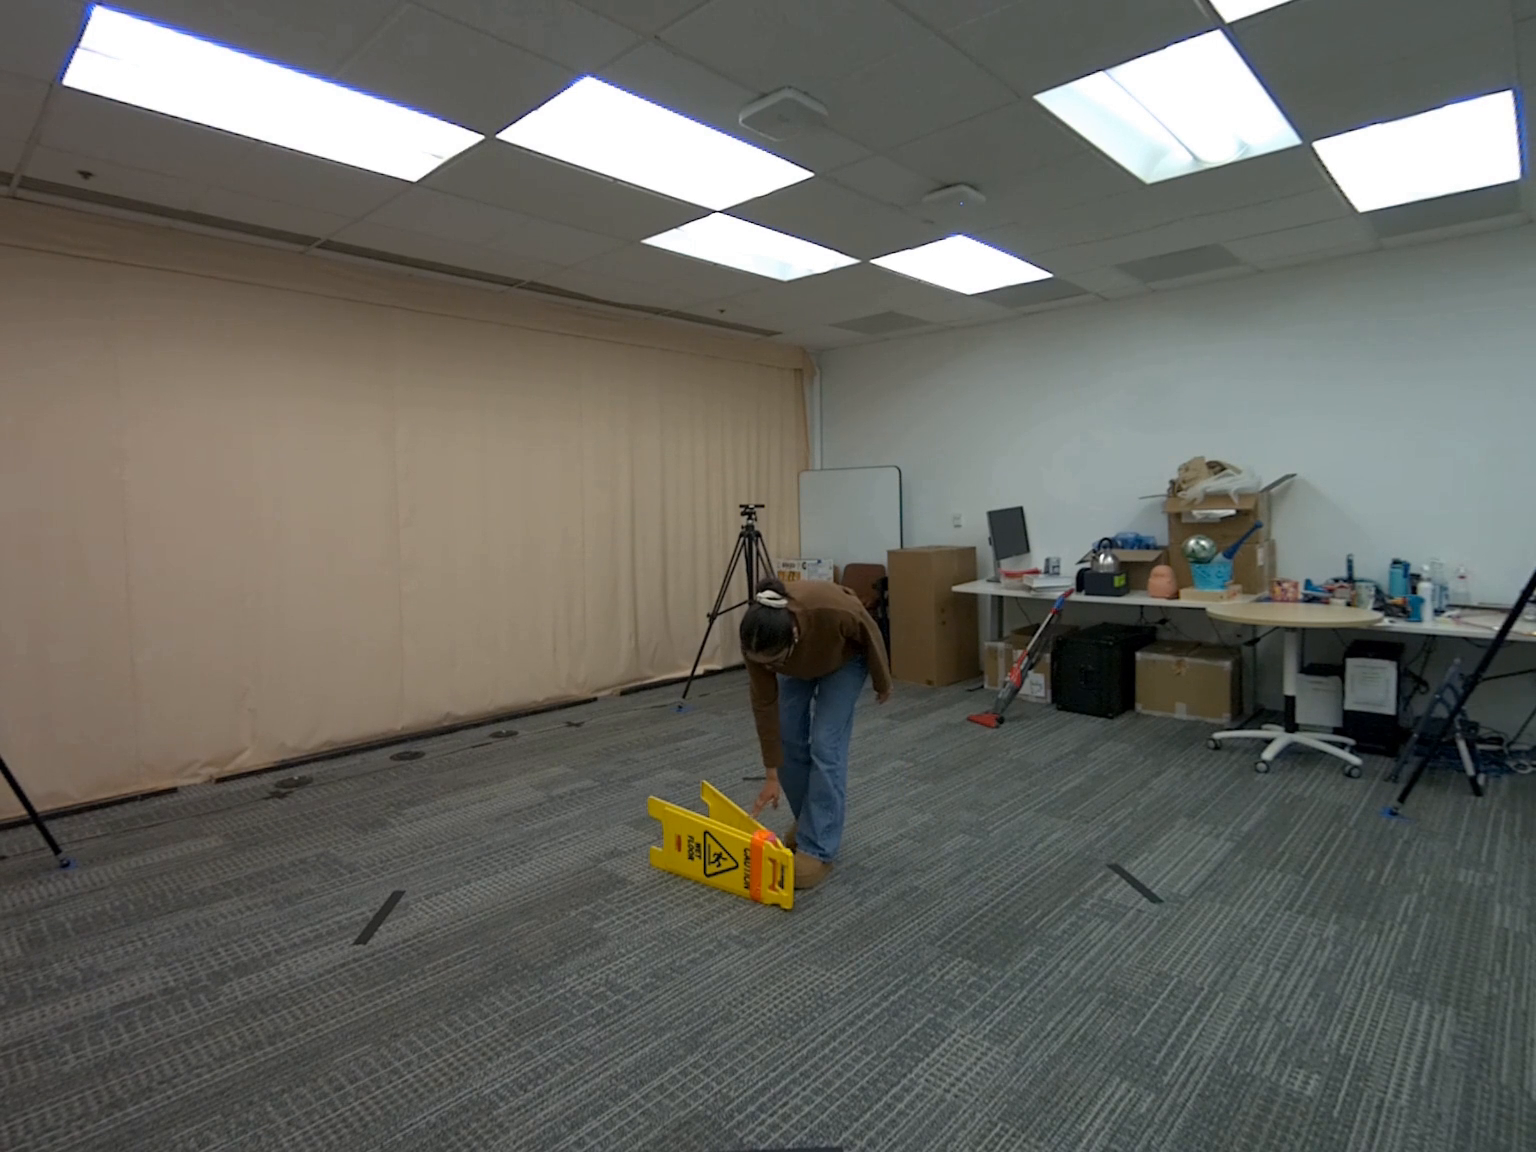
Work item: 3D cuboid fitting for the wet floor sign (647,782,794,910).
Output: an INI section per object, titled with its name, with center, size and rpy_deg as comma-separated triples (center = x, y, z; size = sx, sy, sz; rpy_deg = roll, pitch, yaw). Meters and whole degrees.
[wet floor sign]
center = -0.134, 1.004, 3.108
size = 0.281, 0.281, 0.668
rpy_deg = -5, 9, -42
